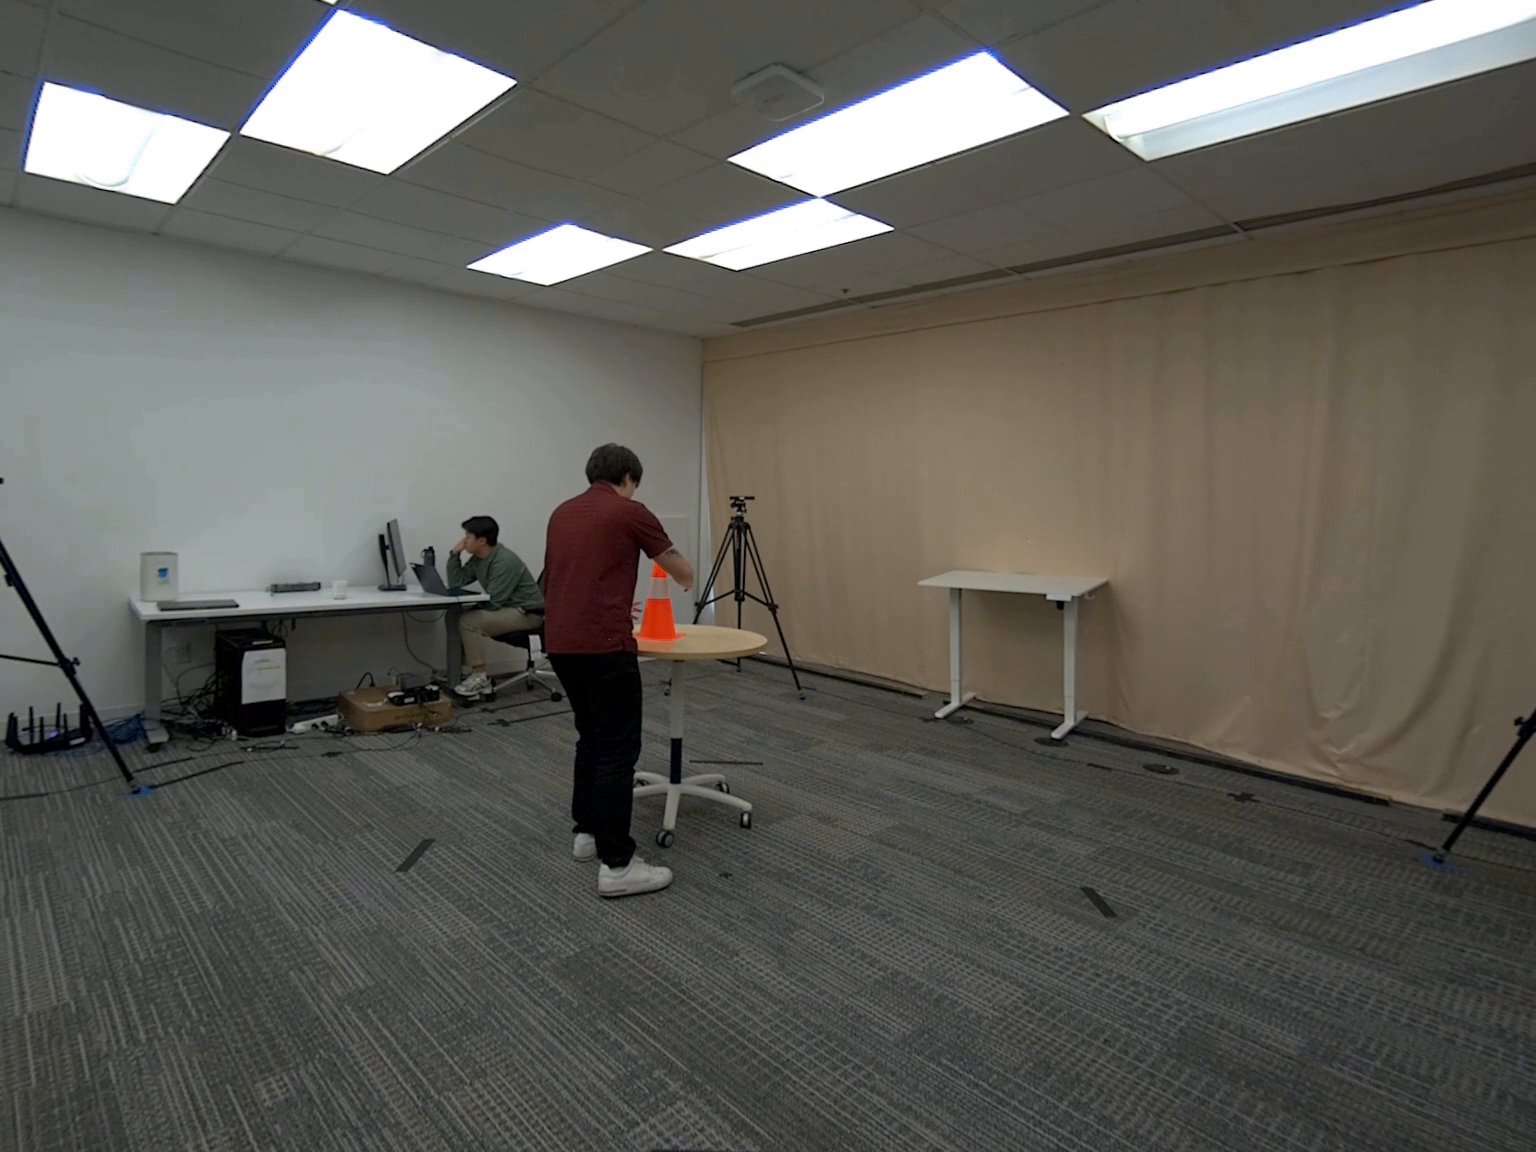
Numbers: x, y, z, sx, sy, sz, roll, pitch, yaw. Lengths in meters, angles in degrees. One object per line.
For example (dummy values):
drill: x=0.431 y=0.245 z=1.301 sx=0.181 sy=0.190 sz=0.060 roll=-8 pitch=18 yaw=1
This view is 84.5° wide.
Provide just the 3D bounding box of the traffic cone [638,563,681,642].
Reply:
traffic cone: x=-0.486 y=0.075 z=3.666 sx=0.205 sy=0.383 sz=0.203 roll=4 pitch=3 yaw=11
